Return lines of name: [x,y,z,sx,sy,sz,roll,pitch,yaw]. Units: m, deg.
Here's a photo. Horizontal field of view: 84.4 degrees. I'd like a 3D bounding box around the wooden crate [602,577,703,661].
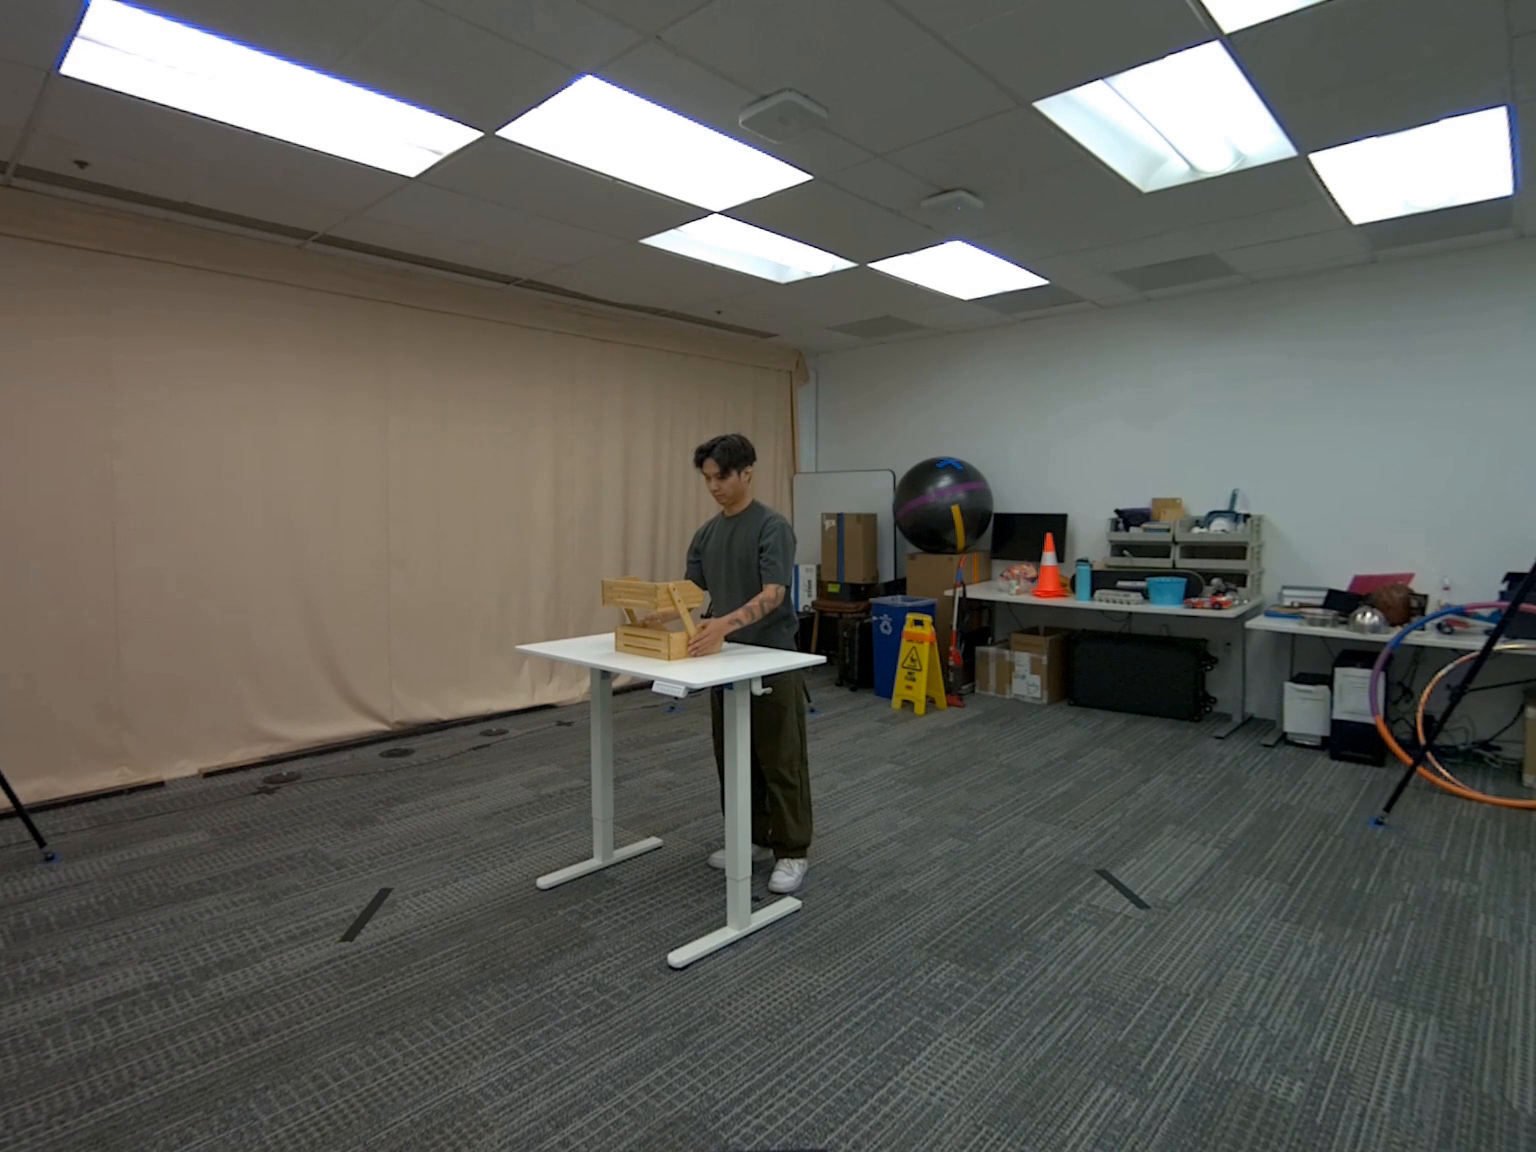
wooden crate: [-0.364,0.138,2.949,0.335,0.273,0.293,3,5,44]
